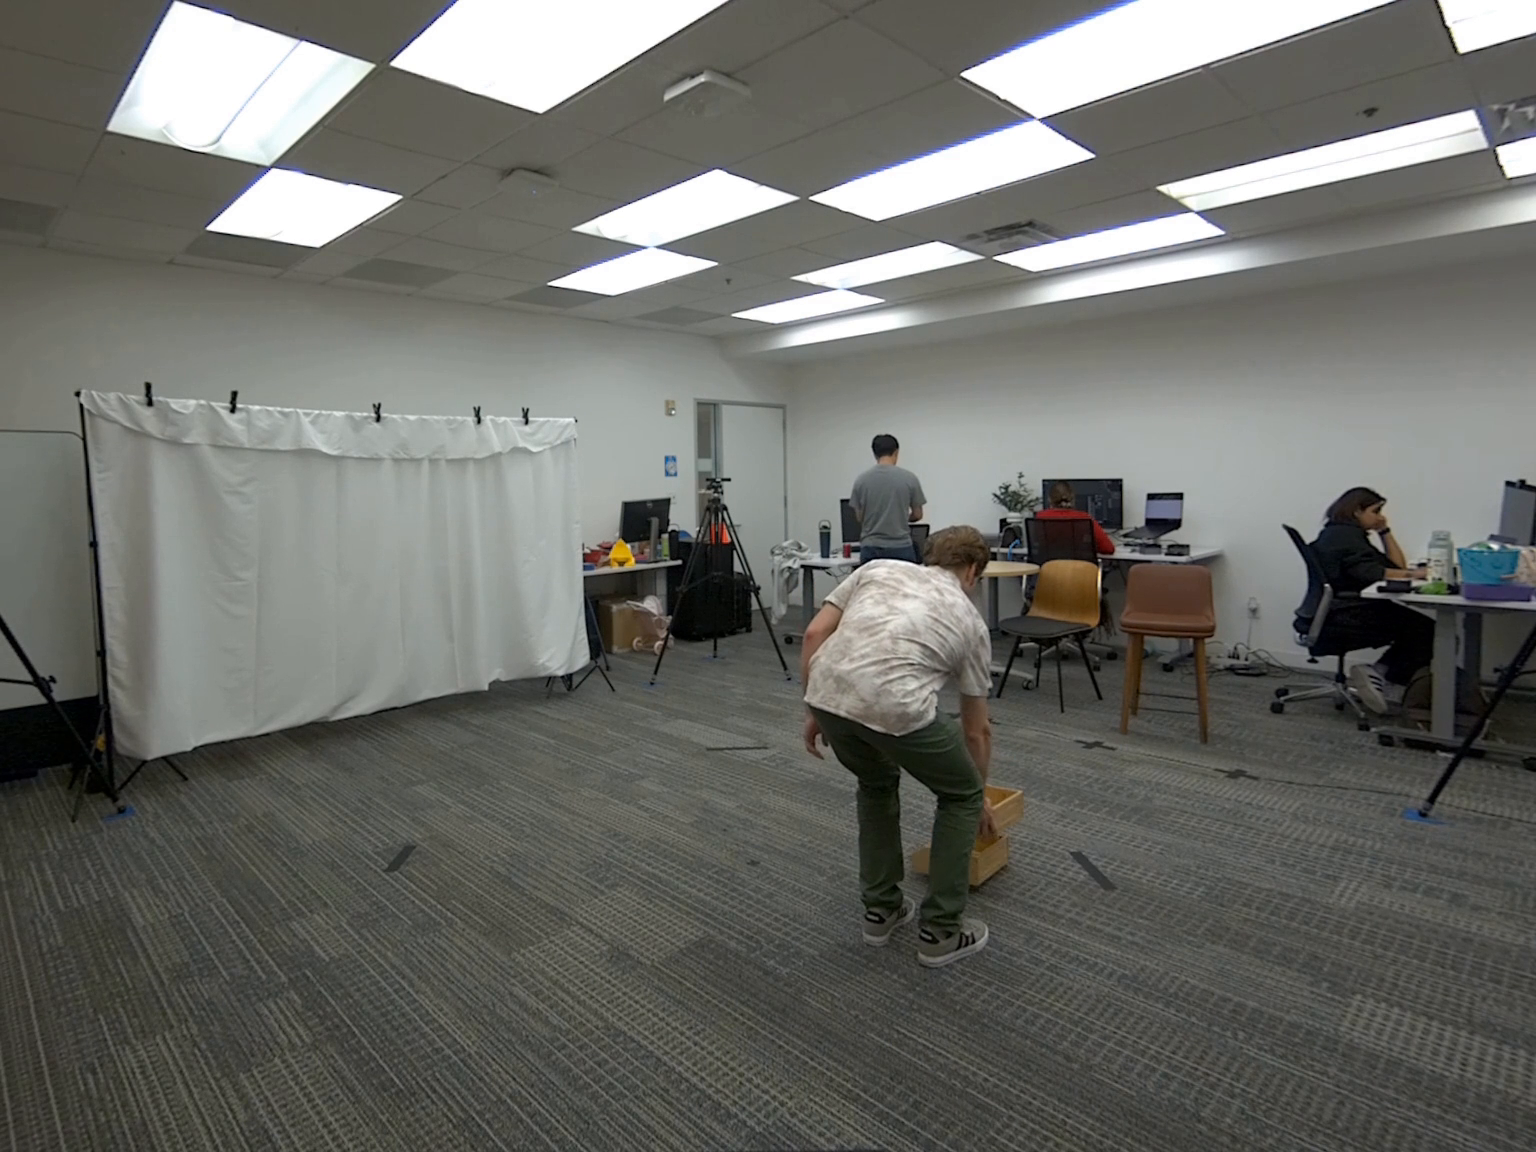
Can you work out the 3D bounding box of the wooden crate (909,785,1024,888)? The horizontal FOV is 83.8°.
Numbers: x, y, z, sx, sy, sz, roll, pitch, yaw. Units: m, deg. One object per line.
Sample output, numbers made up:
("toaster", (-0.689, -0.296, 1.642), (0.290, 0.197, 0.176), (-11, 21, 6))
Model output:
("wooden crate", (0.703, 0.888, 3.000), (0.310, 0.273, 0.315), (1, 0, 35))
